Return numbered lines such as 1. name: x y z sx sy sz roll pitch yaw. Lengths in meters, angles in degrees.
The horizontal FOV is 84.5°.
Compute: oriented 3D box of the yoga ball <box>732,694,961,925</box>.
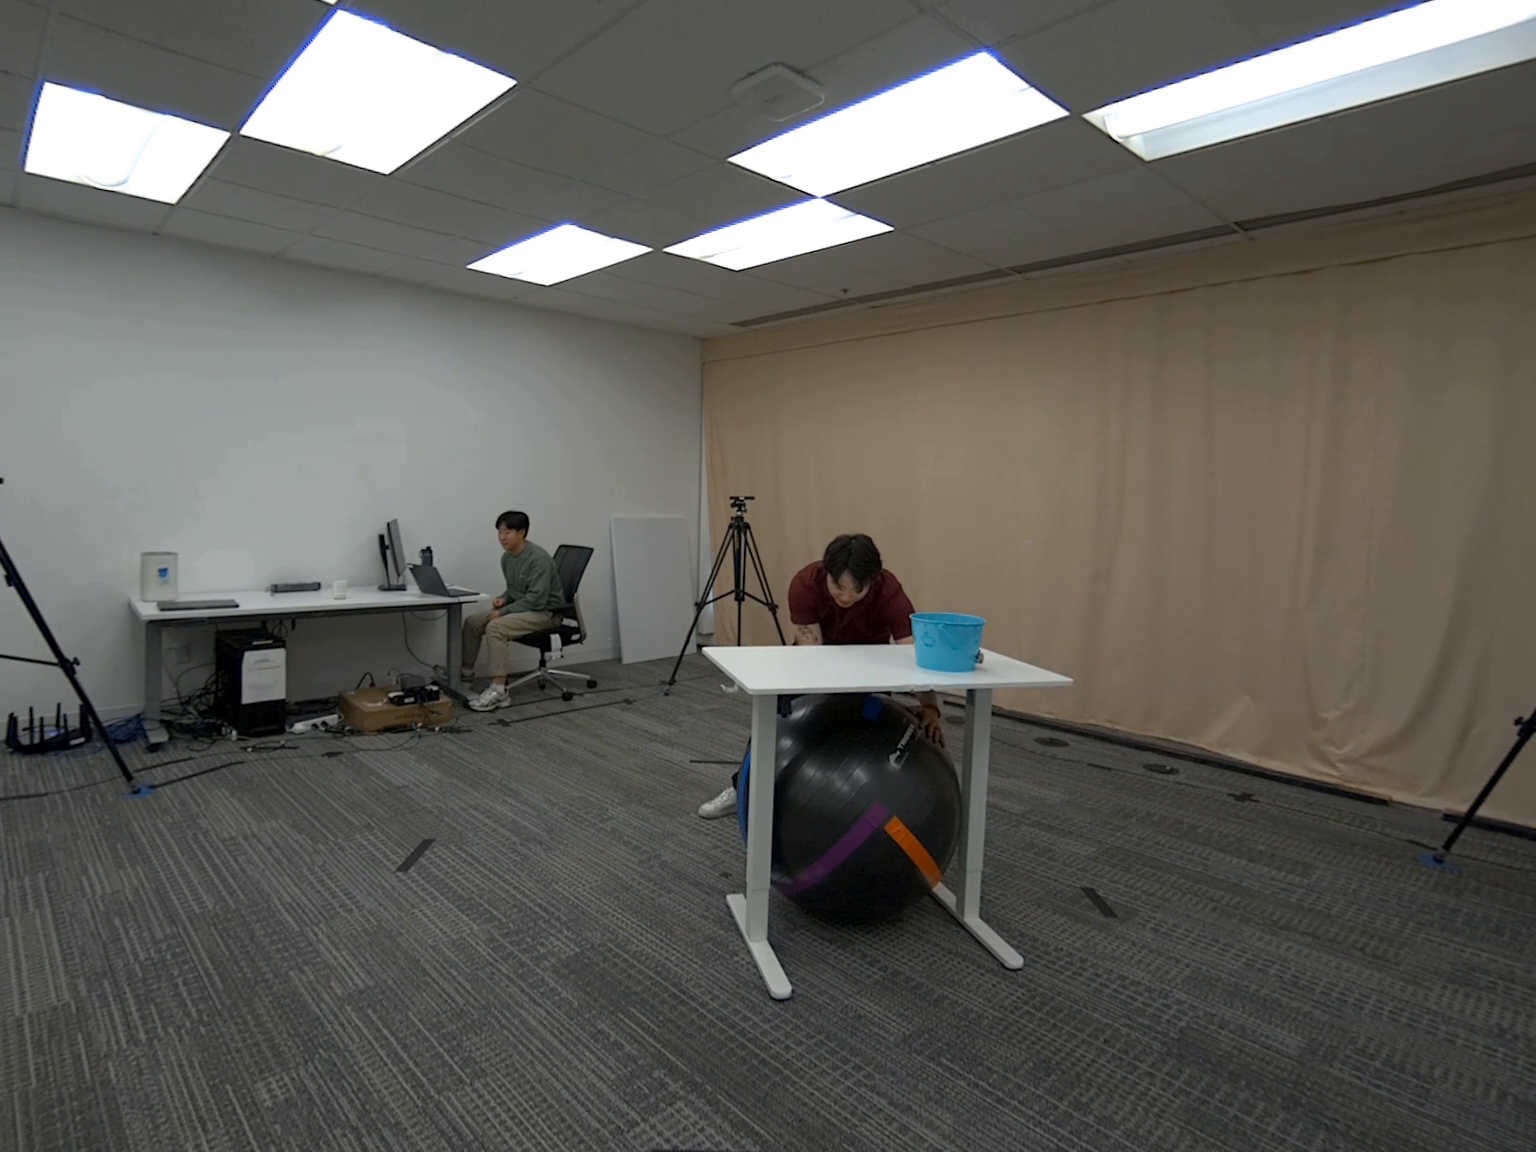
1. yoga ball: 0.266 0.773 2.852 0.757 0.756 0.760 1 4 -1
